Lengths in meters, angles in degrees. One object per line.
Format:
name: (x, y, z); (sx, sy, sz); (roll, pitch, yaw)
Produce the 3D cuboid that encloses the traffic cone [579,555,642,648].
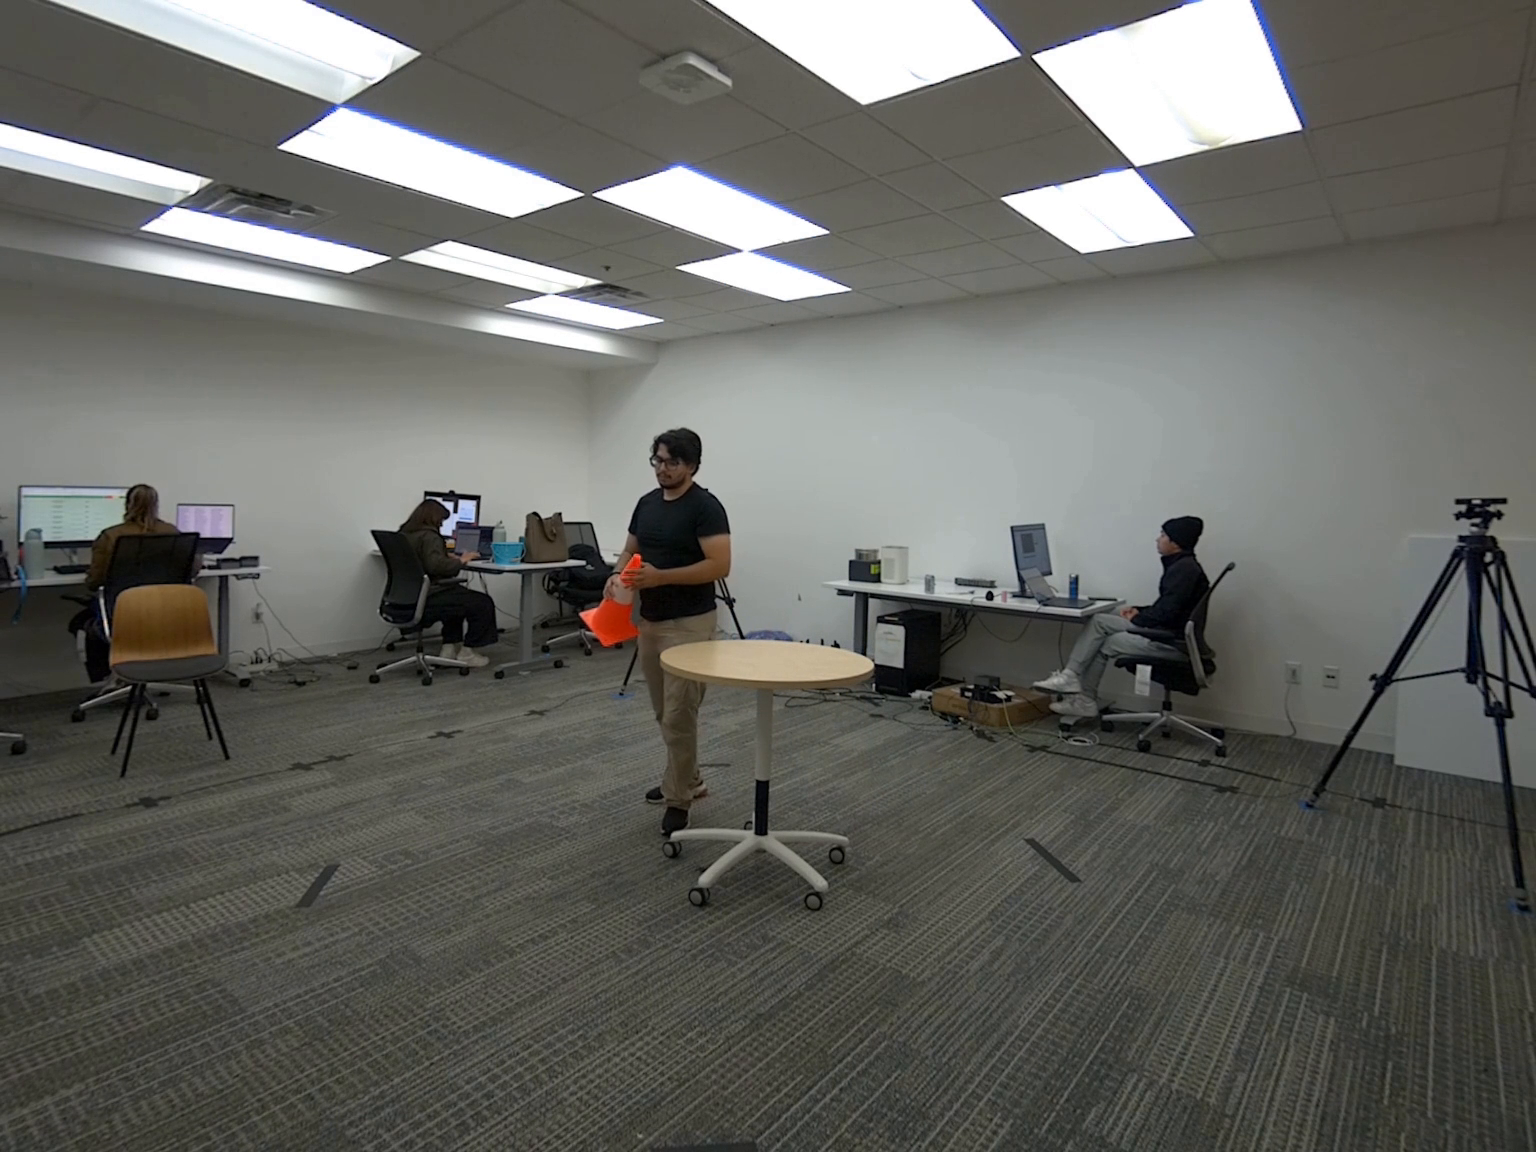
traffic cone: (-0.606, 0.062, 3.471); (0.210, 0.379, 0.201); (42, 37, 25)
